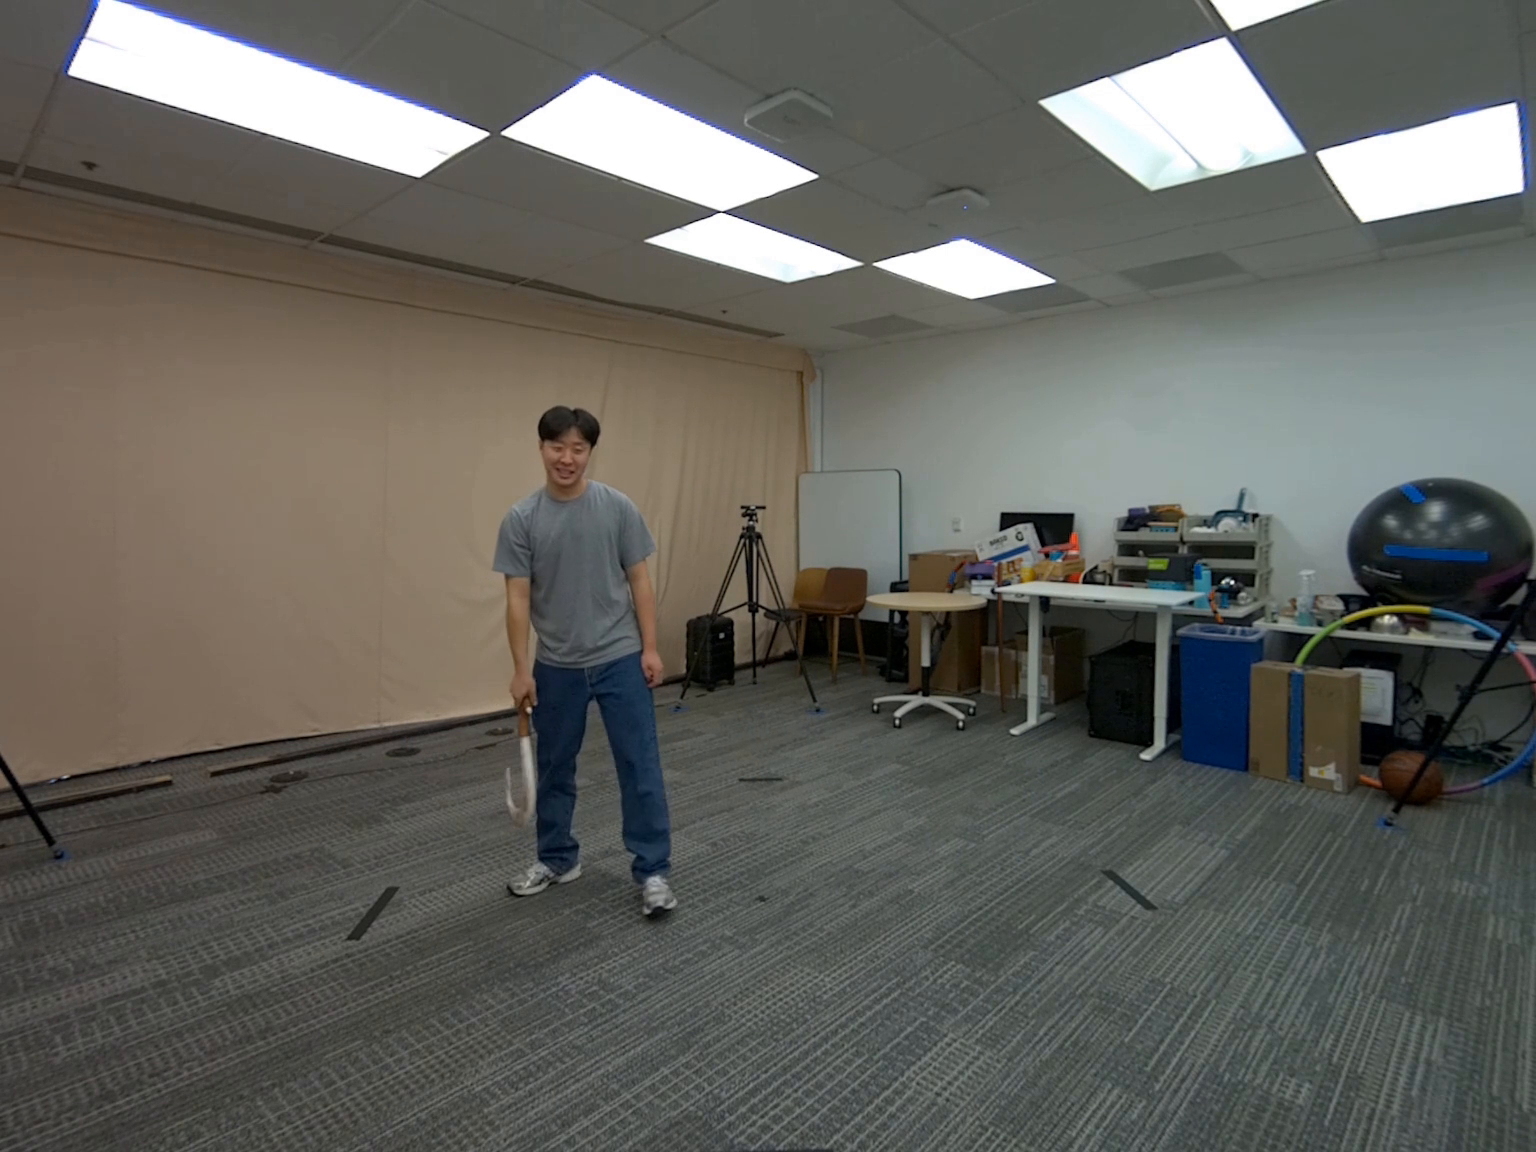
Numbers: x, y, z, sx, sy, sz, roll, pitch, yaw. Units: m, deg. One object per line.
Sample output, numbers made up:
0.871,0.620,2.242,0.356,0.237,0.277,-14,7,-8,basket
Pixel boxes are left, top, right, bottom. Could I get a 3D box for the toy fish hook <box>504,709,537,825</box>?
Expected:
-0.858,0.601,2.908,0.047,0.510,0.230,7,-14,-39,toy fish hook
